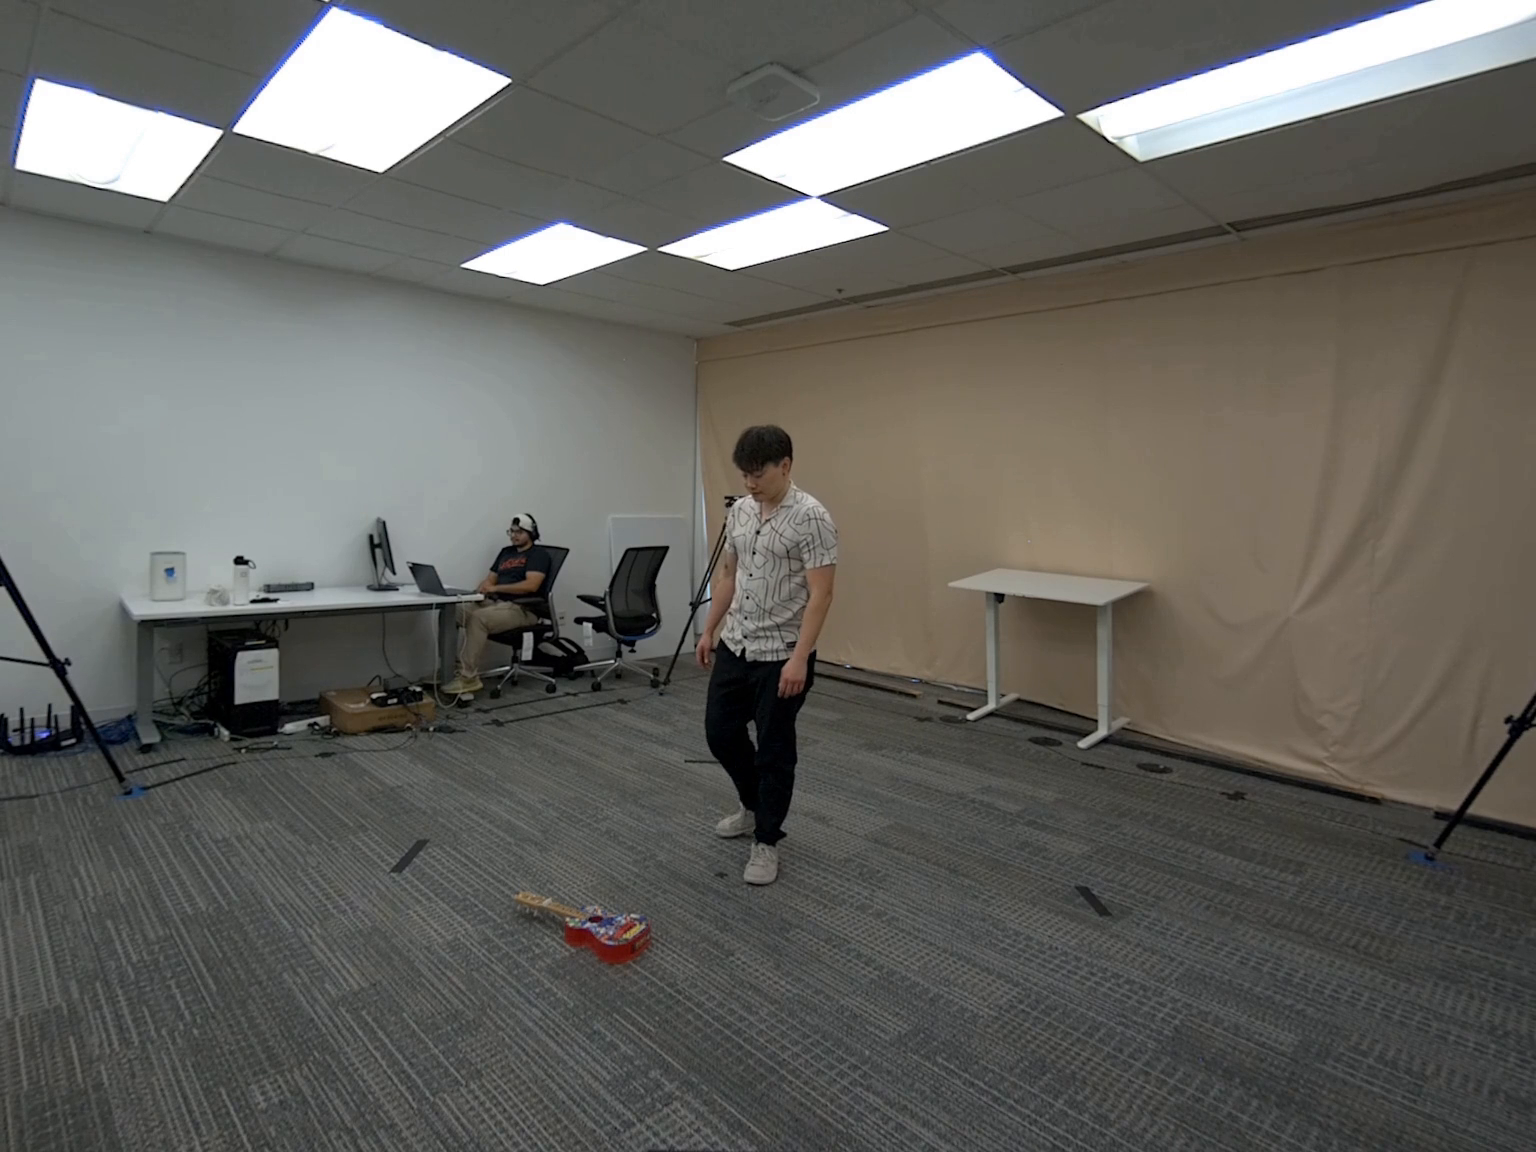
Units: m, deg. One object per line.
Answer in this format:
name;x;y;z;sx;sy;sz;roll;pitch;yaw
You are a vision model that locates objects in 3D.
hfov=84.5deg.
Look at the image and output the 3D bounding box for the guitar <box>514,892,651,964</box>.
guitar;-0.601;1.097;2.696;0.510;0.070;0.189;6;7;36
